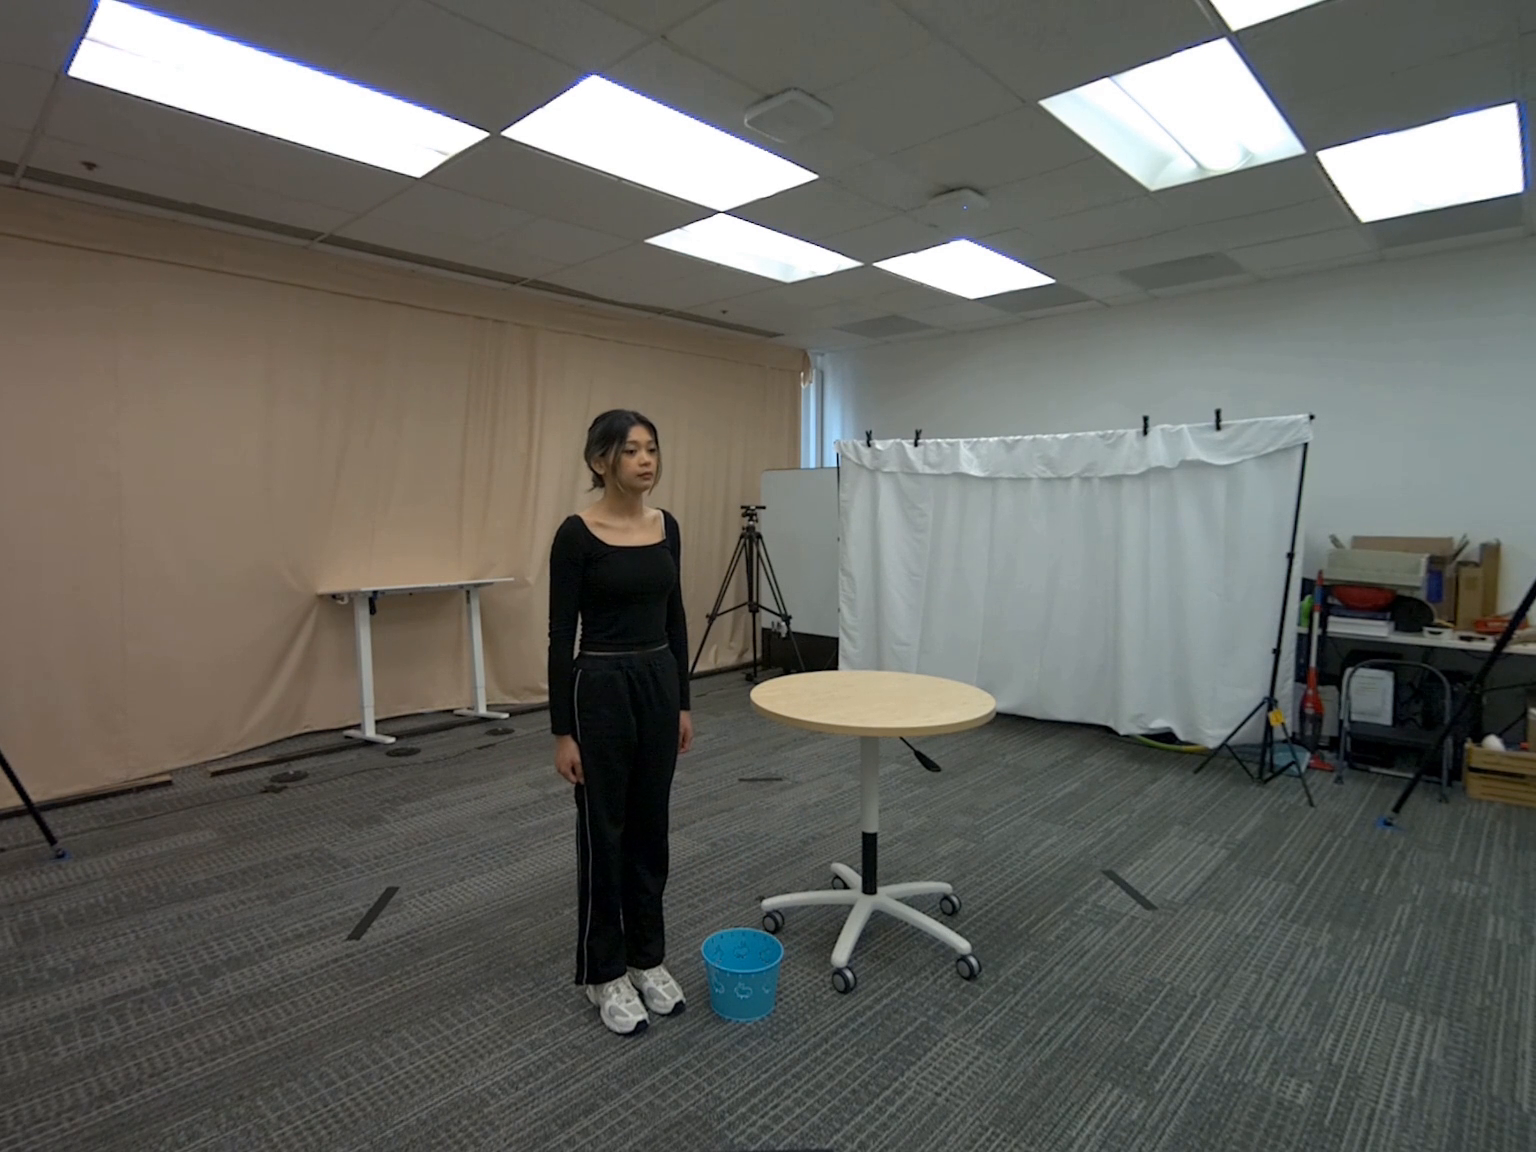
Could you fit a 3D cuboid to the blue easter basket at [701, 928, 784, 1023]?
[{"bbox_3d":[-0.069,1.124,2.354,0.243,0.155,0.244,0,4,-2],"label":"blue easter basket"}]
